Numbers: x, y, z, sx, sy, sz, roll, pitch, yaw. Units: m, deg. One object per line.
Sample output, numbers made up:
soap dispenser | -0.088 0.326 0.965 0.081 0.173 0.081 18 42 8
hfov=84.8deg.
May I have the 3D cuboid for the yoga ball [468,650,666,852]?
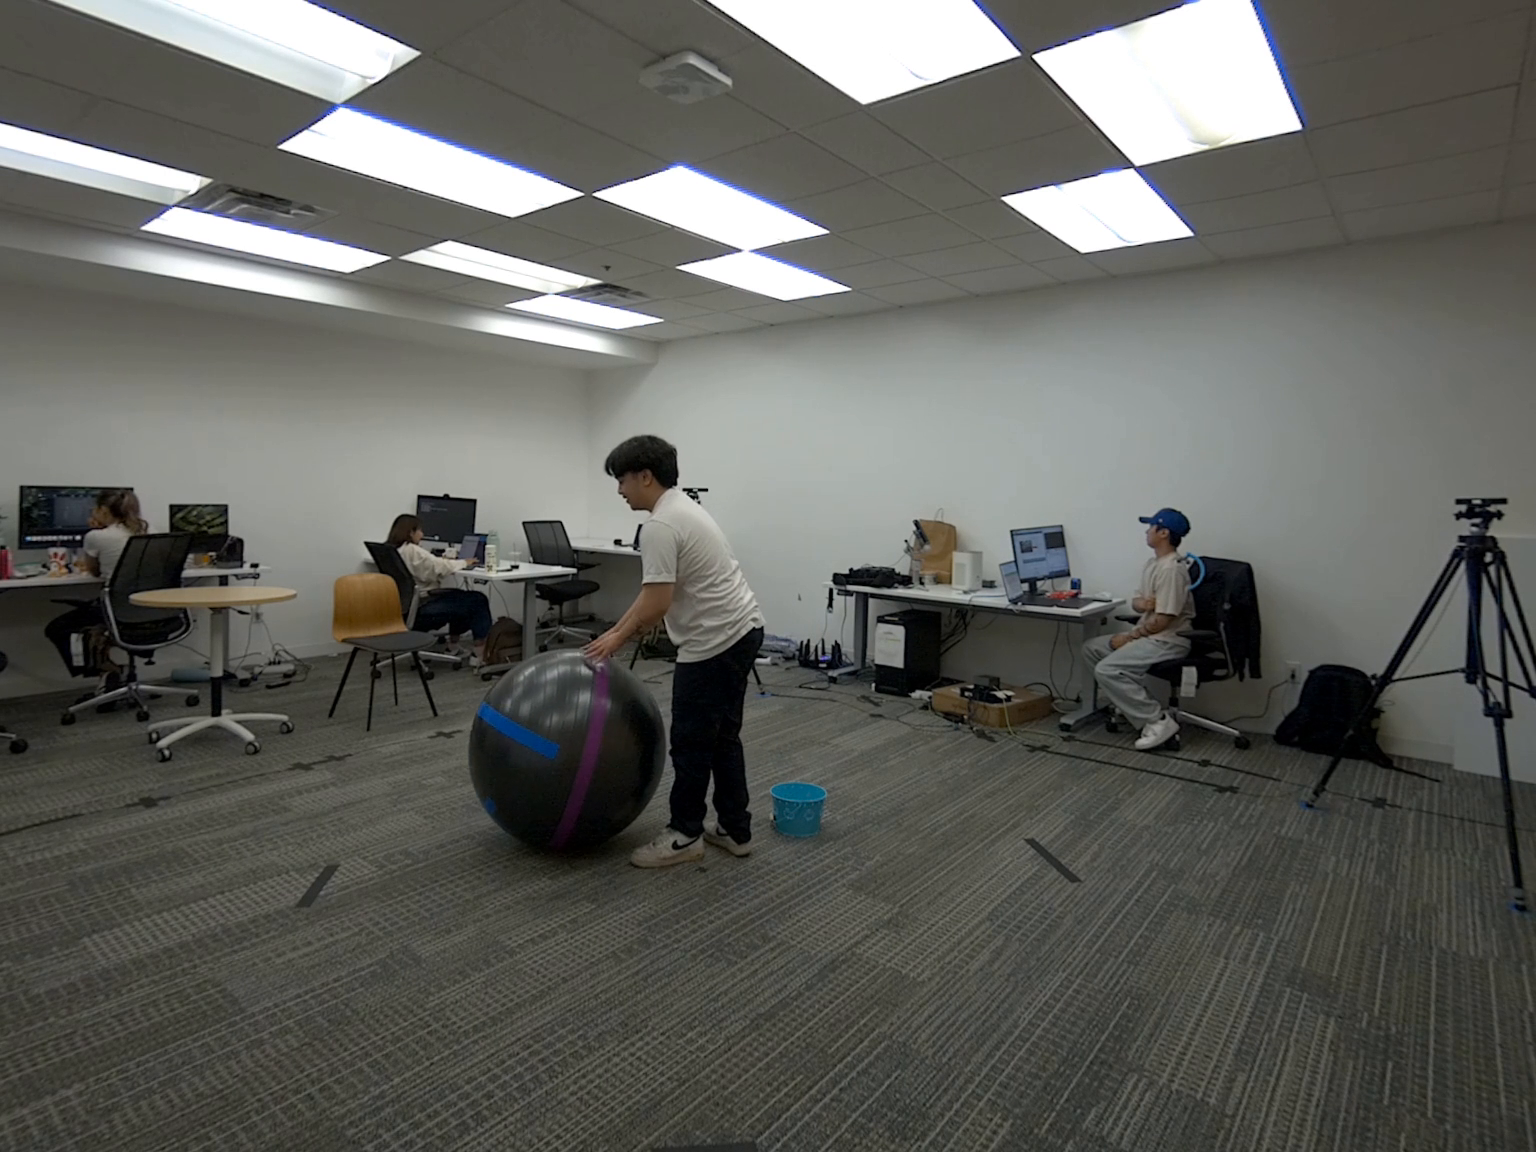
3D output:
yoga ball | -0.793 0.672 3.332 0.757 0.755 0.762 1 4 -2
